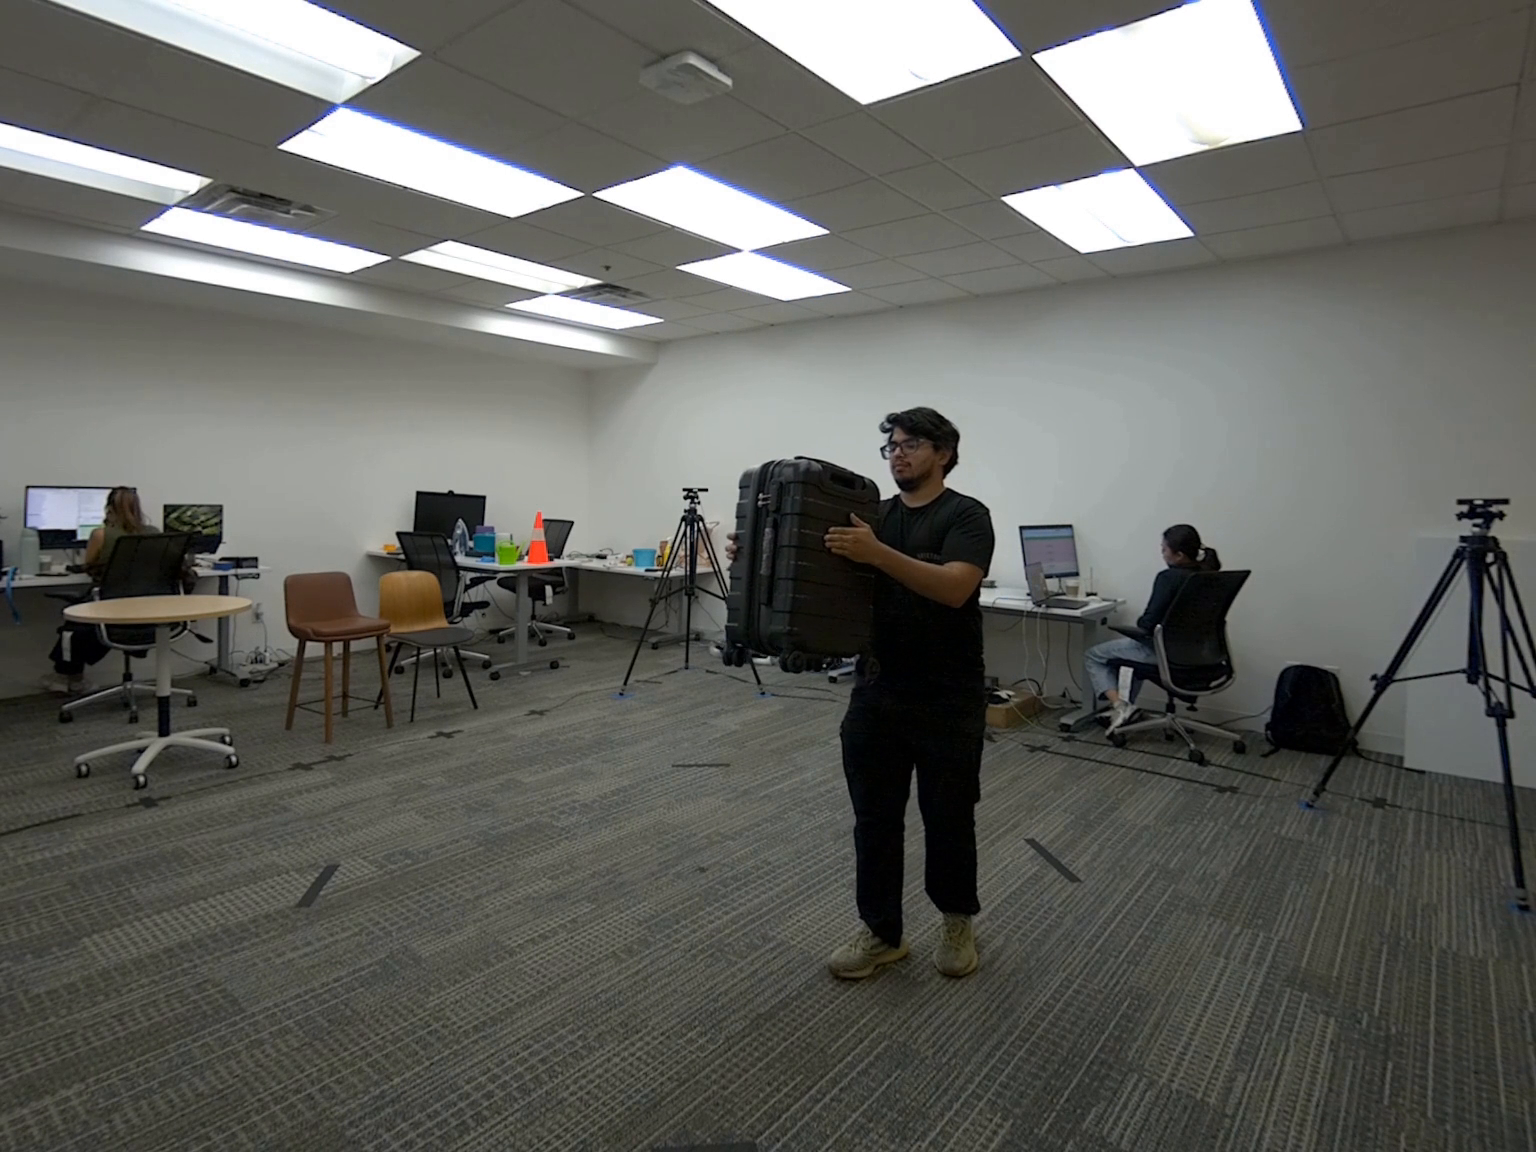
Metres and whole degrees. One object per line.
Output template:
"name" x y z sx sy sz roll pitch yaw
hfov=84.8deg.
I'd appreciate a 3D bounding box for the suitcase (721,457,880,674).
"suitcase" 0.096 -0.029 2.253 0.362 0.552 0.256 9 -8 -42
